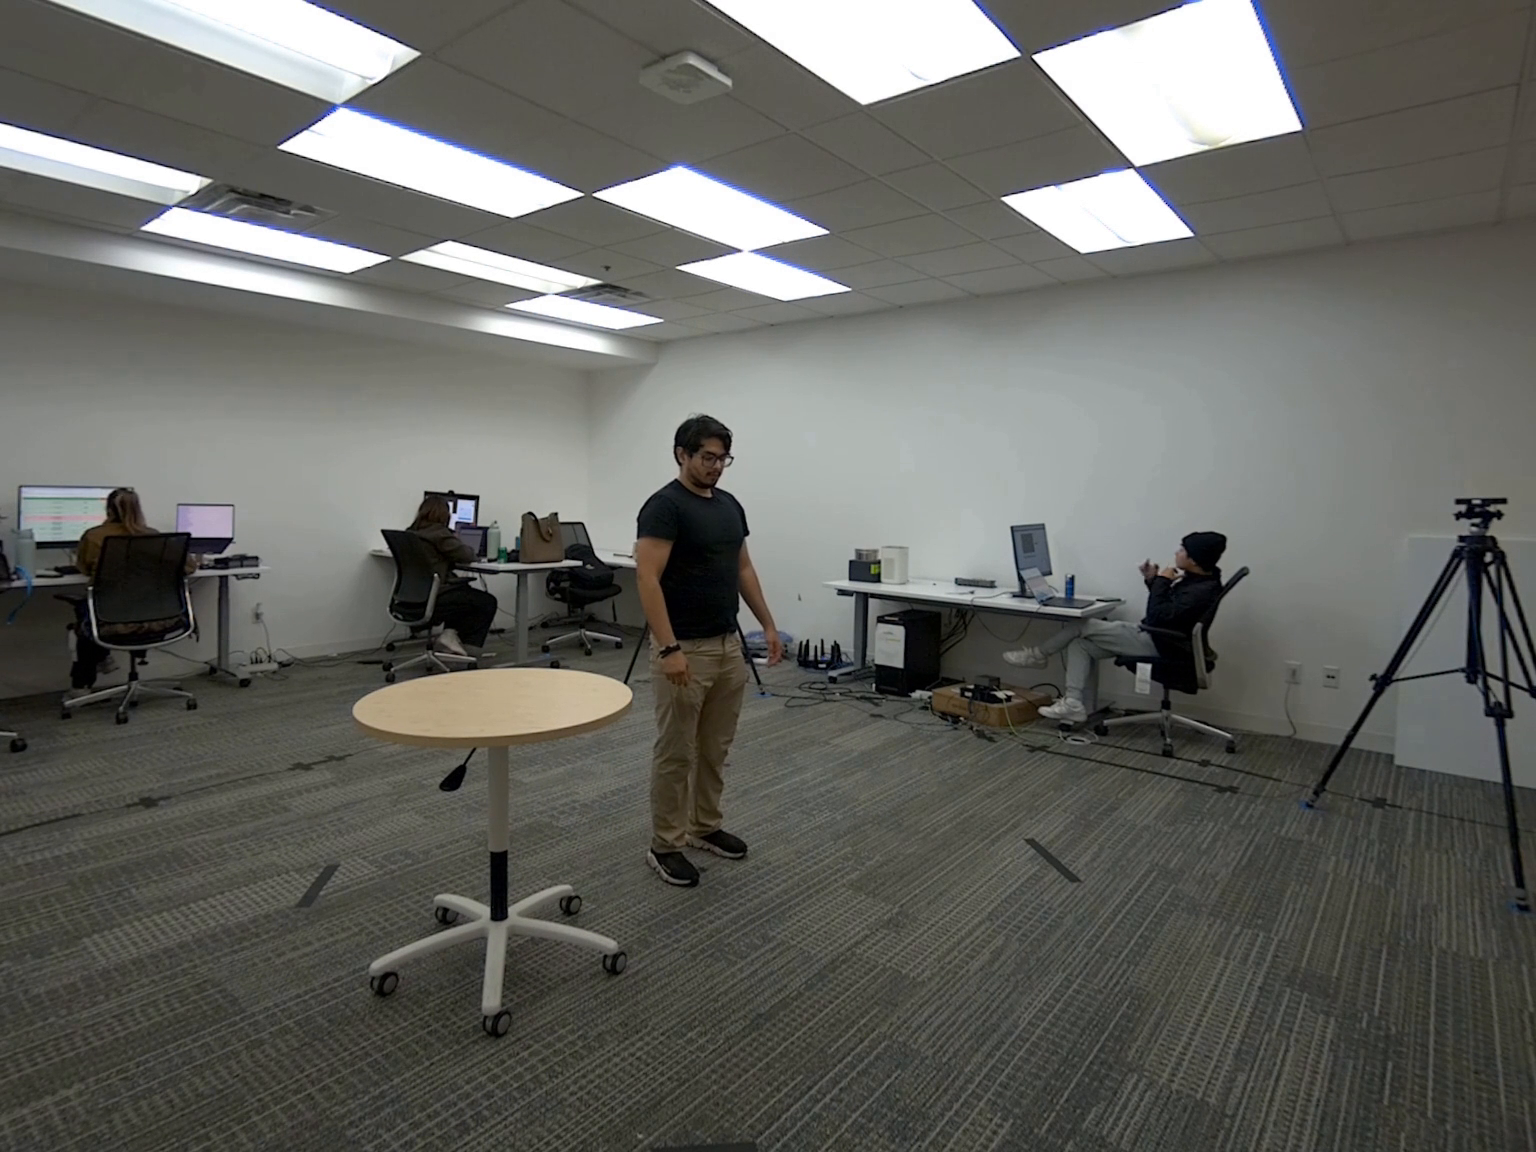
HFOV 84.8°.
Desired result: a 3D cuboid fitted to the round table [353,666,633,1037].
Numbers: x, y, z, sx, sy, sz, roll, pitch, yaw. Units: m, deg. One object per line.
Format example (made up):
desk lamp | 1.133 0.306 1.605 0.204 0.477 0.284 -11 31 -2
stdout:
round table | -0.767 0.733 2.443 0.784 0.784 0.789 0 4 -2
